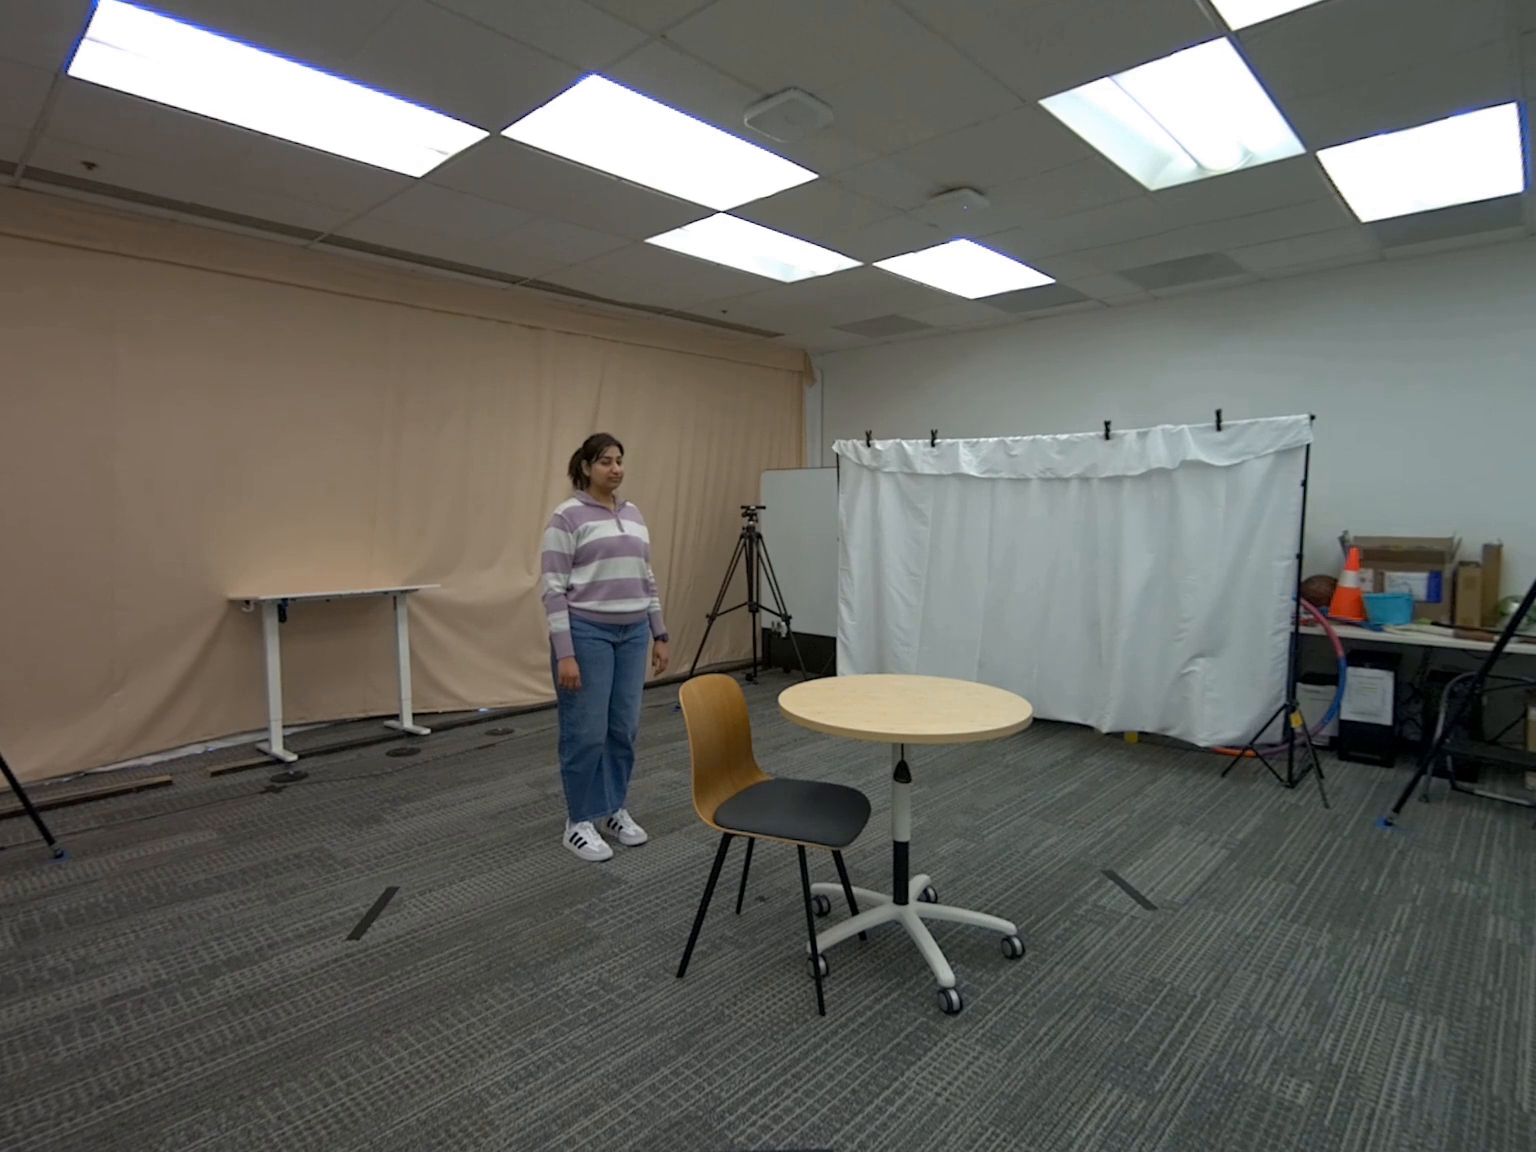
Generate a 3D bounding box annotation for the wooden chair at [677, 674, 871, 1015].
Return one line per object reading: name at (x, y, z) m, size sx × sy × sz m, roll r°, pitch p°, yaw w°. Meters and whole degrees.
wooden chair at (0.035, 0.755, 2.561) m, size 0.536 × 0.876 × 0.467 m, roll -3°, pitch 2°, yaw 24°
